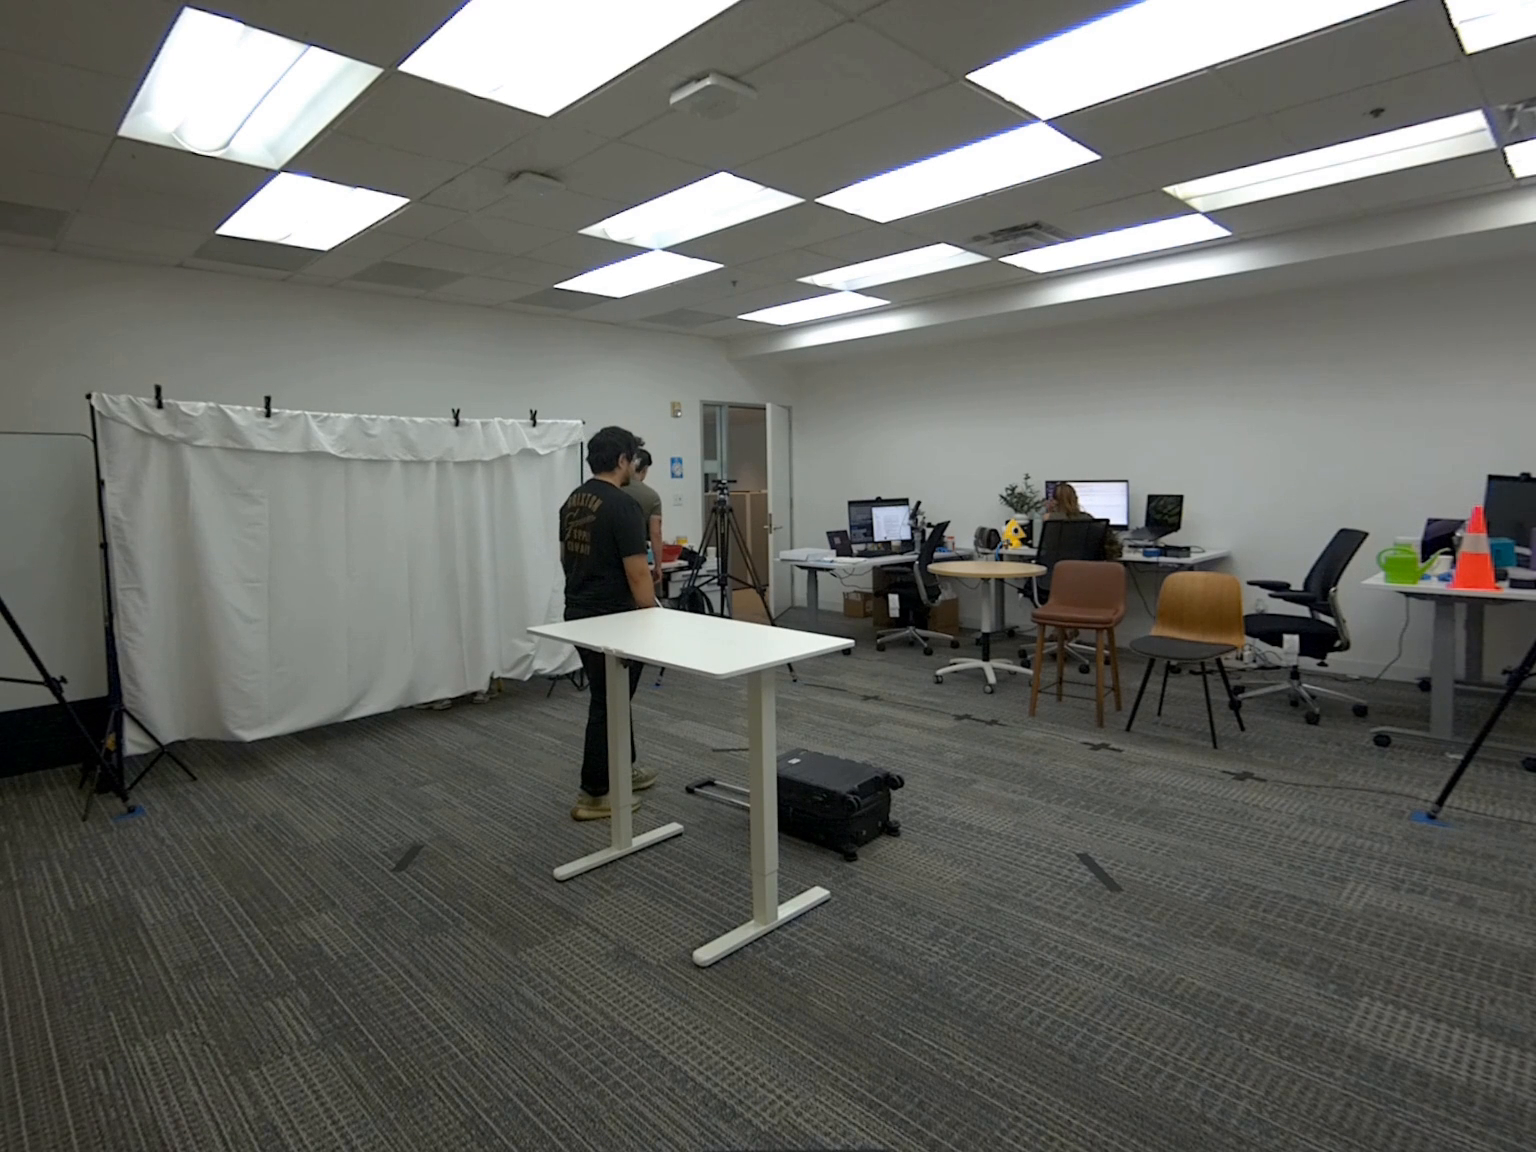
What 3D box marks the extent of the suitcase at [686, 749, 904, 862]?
[{"bbox_3d":[0.061,0.870,3.561,1.009,0.255,0.374,6,9,41],"label":"suitcase"}]
